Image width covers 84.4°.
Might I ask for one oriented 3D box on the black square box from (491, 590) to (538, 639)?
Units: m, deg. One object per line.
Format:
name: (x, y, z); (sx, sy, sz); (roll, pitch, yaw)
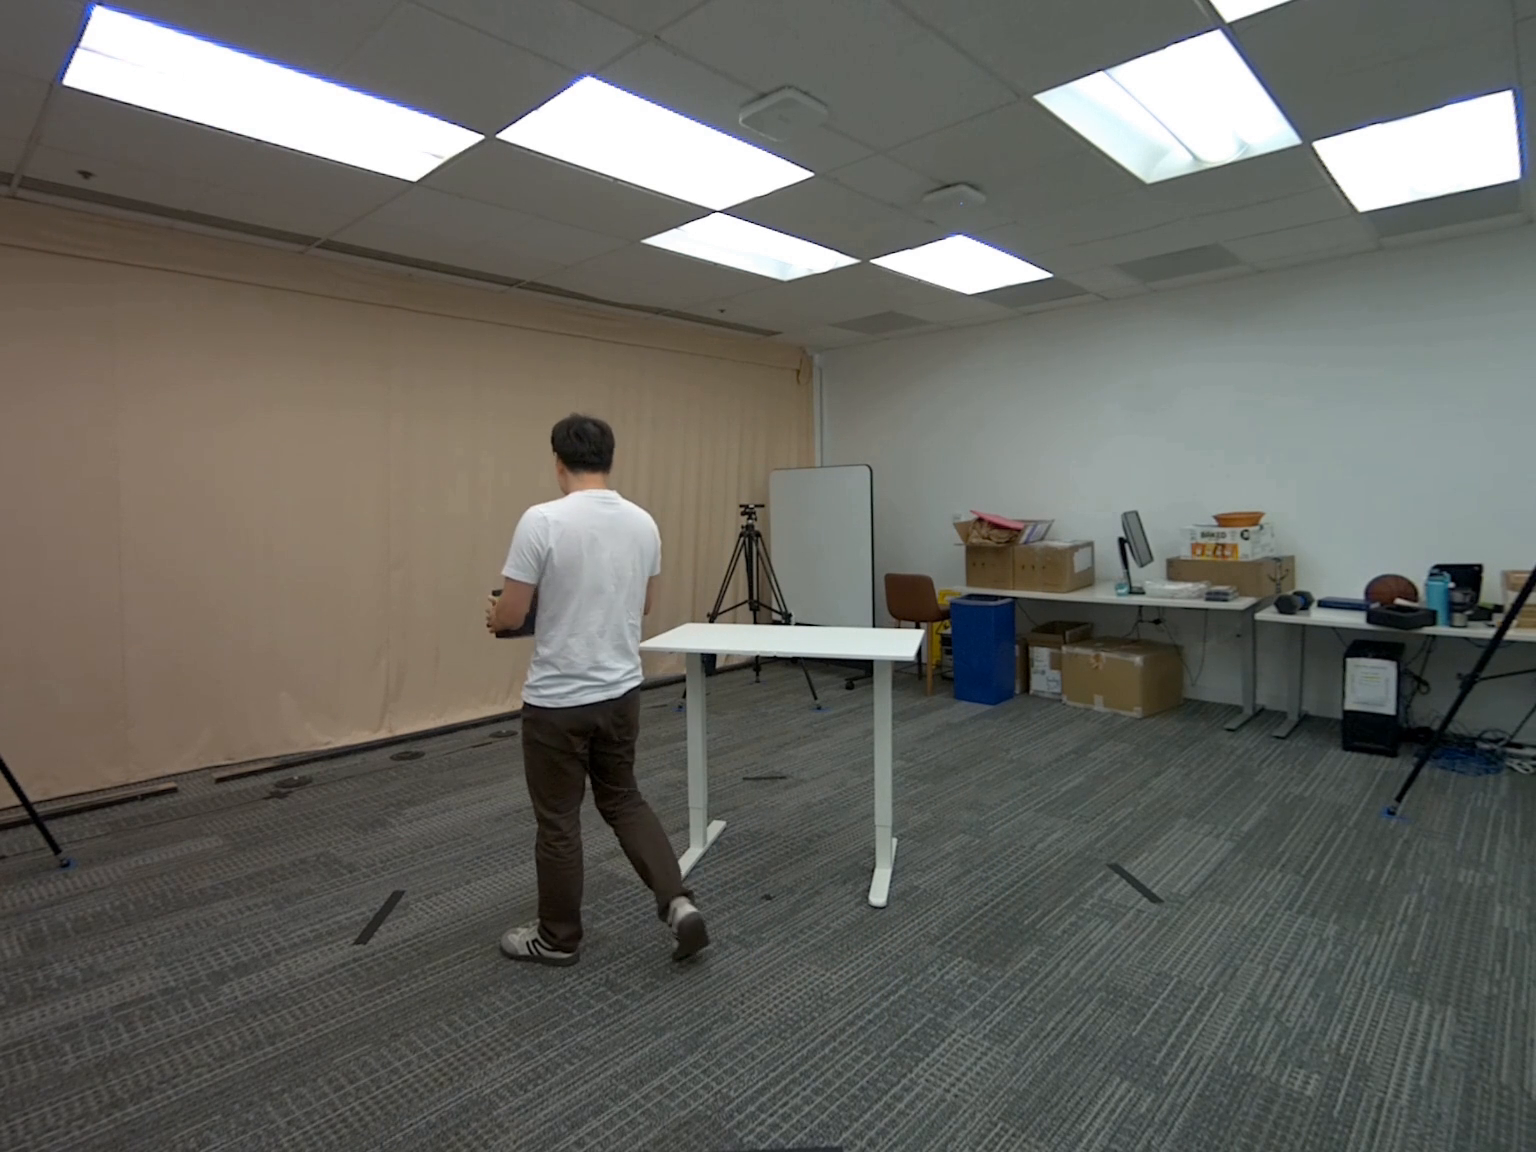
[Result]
black square box: (-0.782, 0.130, 2.811); (0.227, 0.156, 0.217); (-6, -4, -6)
